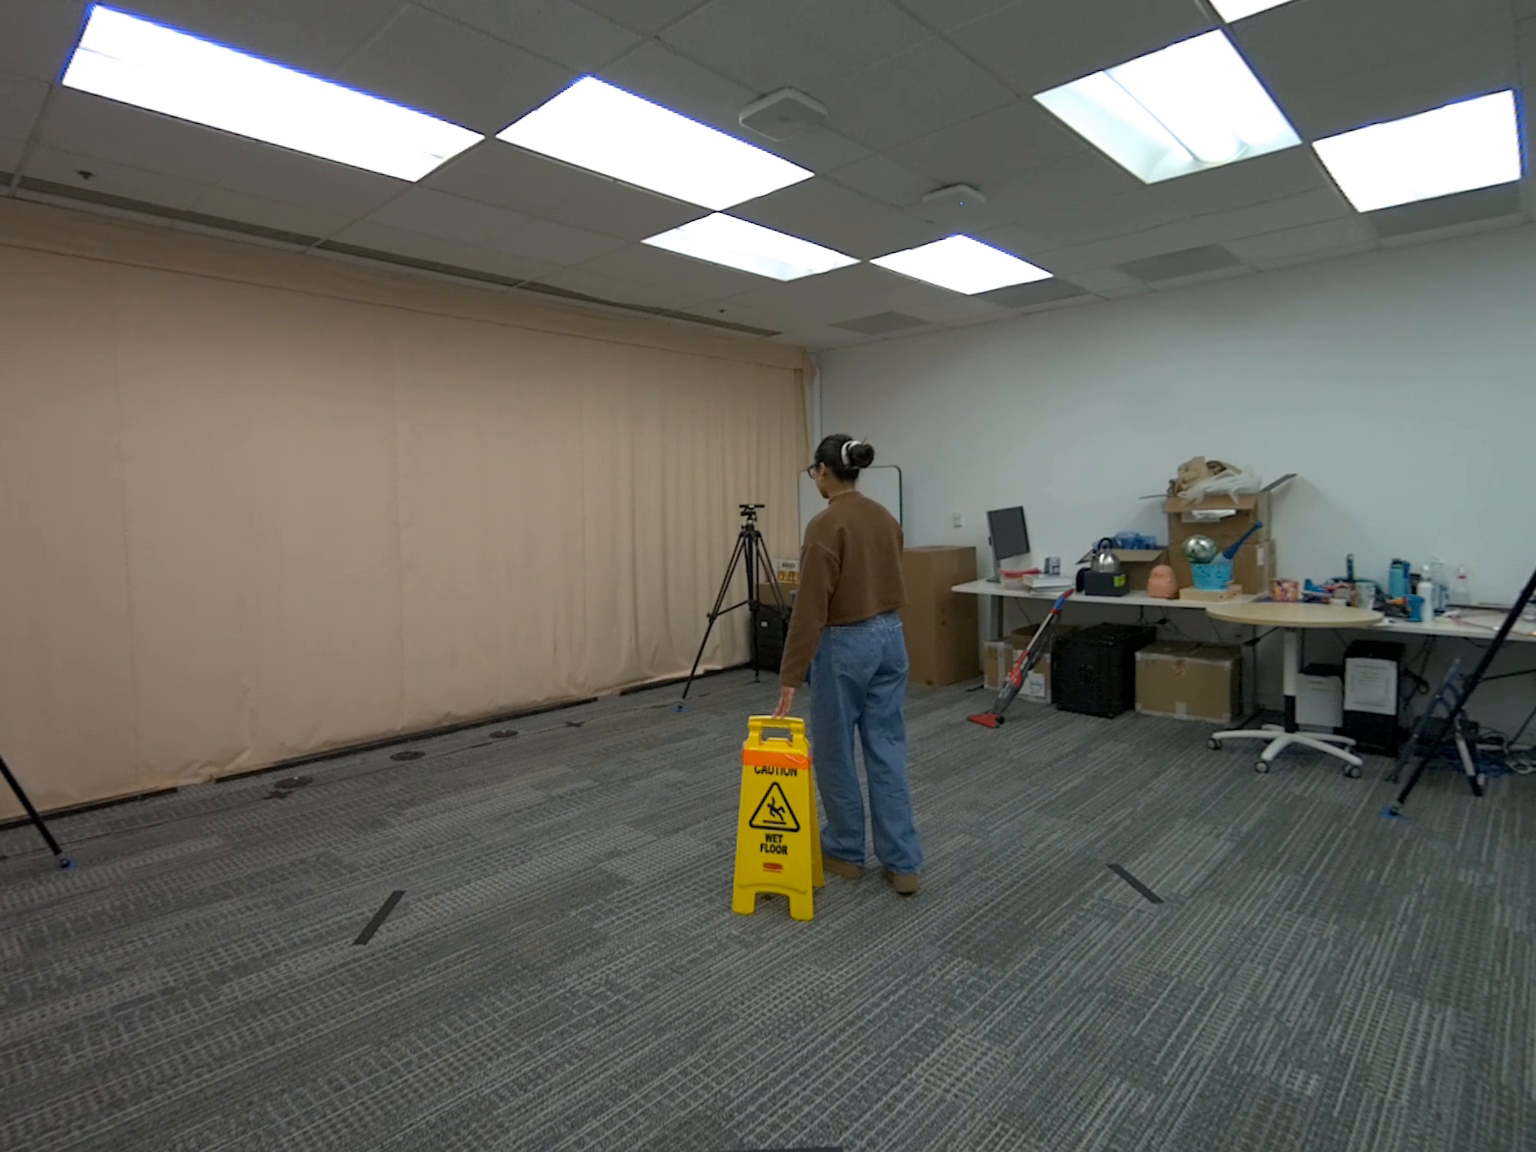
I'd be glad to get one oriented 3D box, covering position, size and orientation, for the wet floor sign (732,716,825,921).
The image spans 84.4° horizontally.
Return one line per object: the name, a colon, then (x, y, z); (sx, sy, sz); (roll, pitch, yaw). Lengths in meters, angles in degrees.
wet floor sign: (0.043, 0.817, 2.965); (0.287, 0.645, 0.286); (1, 3, 14)
